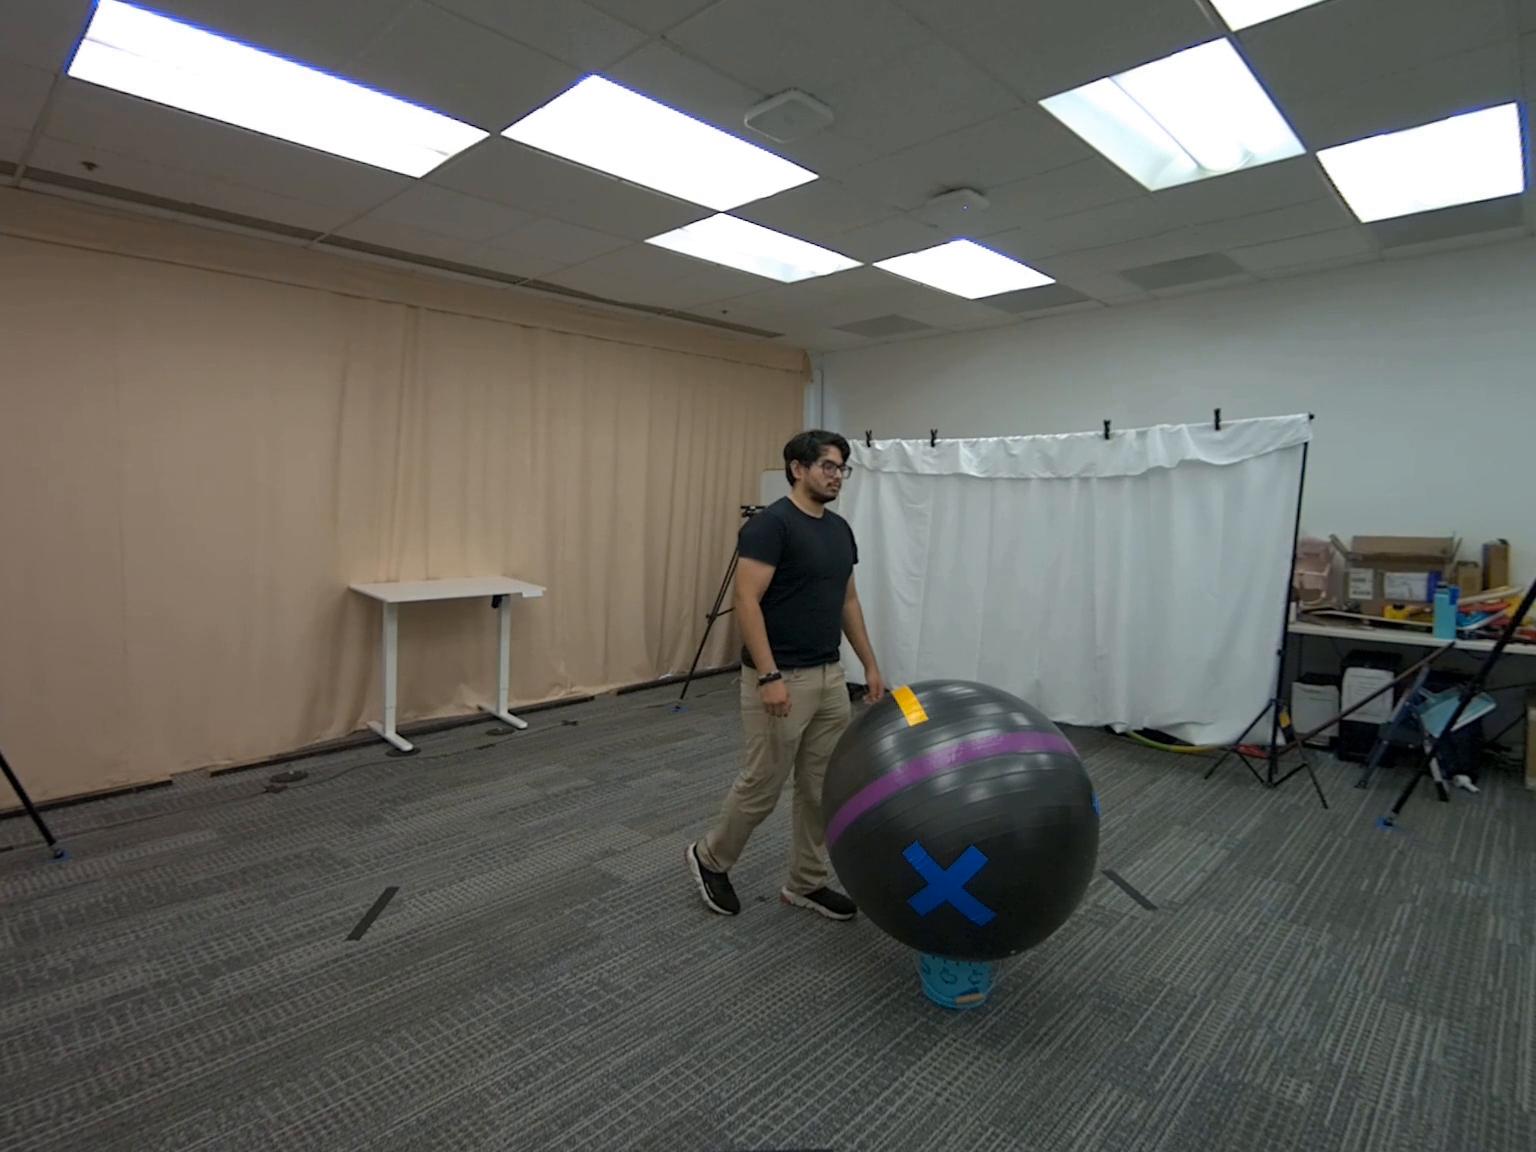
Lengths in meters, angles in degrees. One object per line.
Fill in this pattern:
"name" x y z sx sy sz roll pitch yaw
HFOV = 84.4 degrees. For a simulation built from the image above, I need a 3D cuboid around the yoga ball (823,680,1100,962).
"yoga ball" 0.537 0.684 2.398 0.757 0.756 0.760 0 4 -2
